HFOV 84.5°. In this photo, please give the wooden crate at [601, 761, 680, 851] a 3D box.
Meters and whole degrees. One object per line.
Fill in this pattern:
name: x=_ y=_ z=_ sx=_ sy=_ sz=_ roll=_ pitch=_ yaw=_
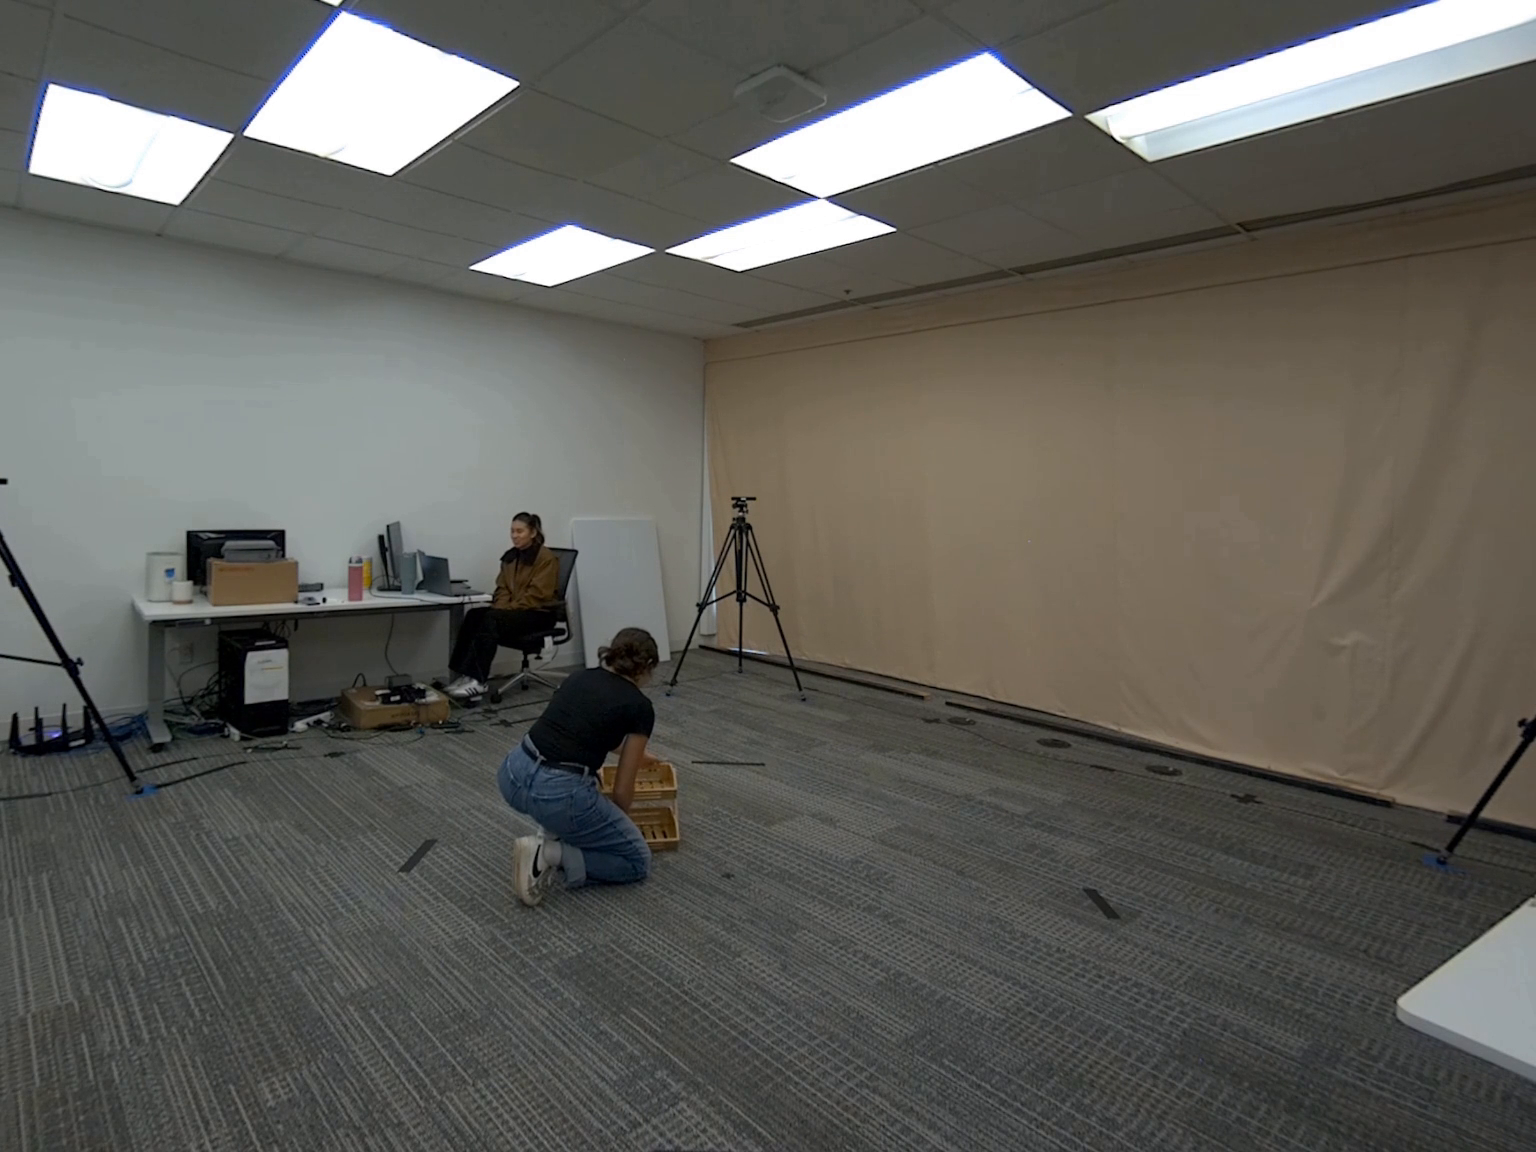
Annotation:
wooden crate: x=-0.534 y=0.934 z=3.418 sx=0.321 sy=0.272 sz=0.306 roll=0 pitch=4 yaw=-14
